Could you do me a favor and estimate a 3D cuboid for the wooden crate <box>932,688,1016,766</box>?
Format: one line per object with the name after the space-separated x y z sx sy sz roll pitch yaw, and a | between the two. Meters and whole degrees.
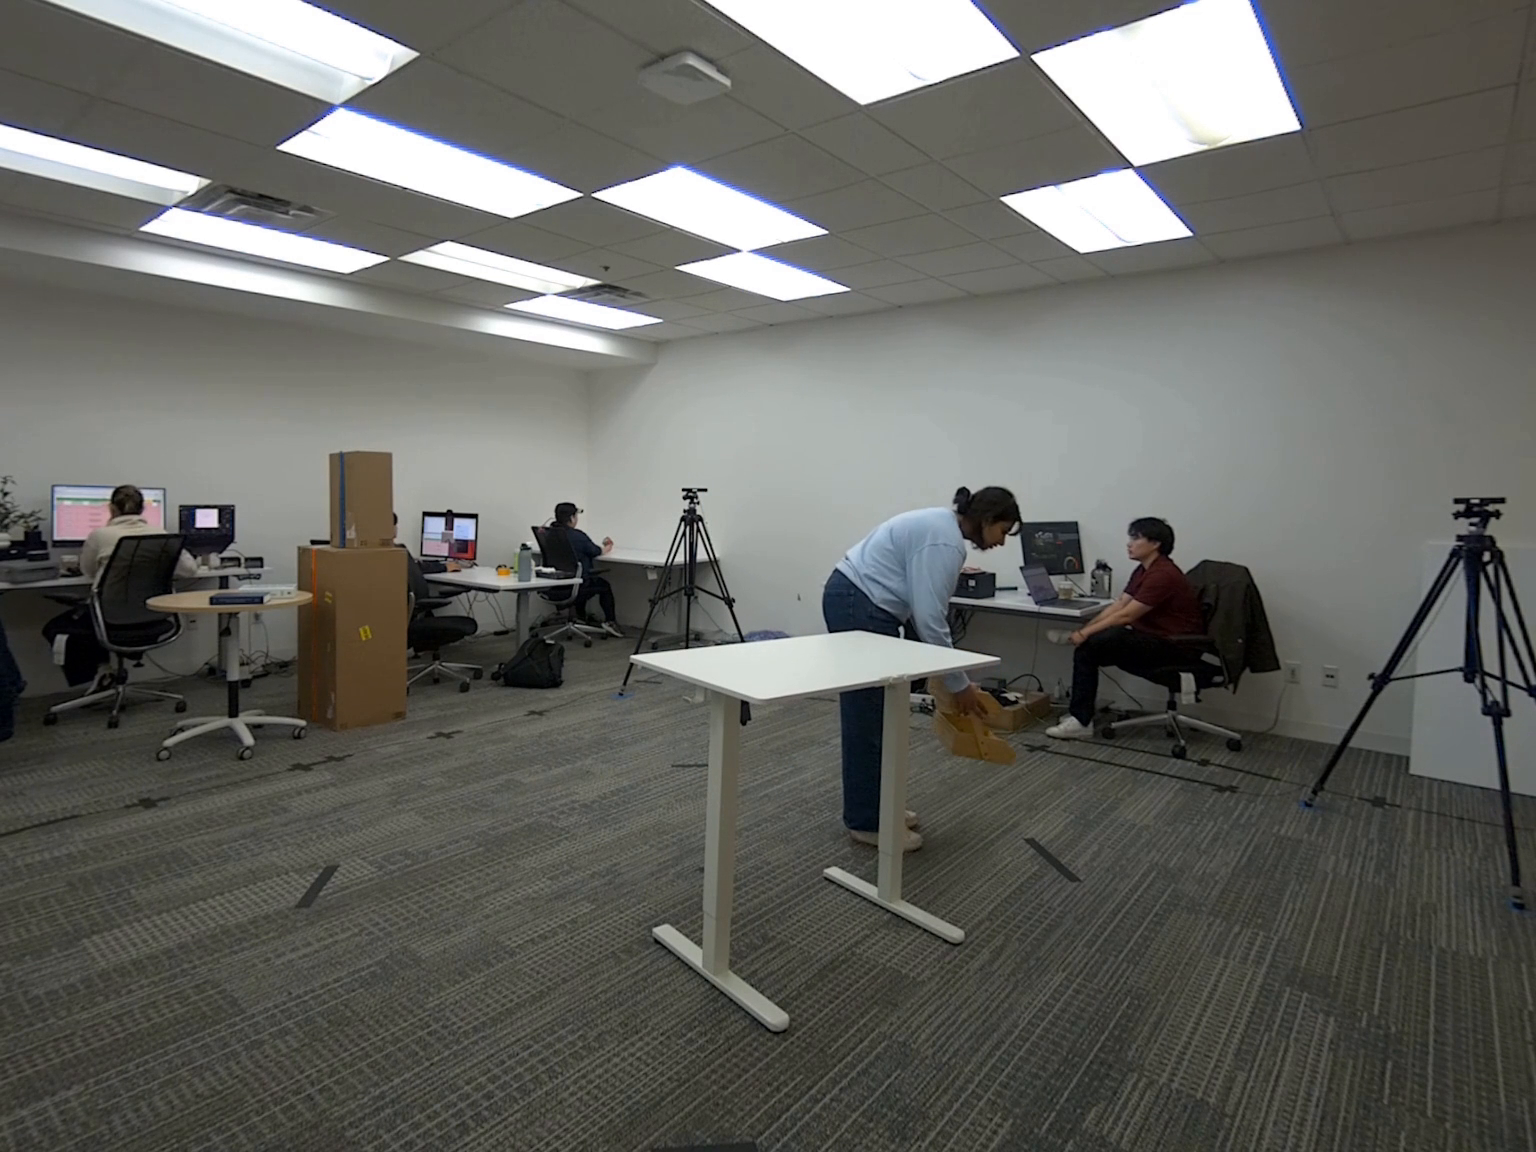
0.816 0.545 3.398 0.301 0.272 0.327 10 4 -5 | wooden crate
